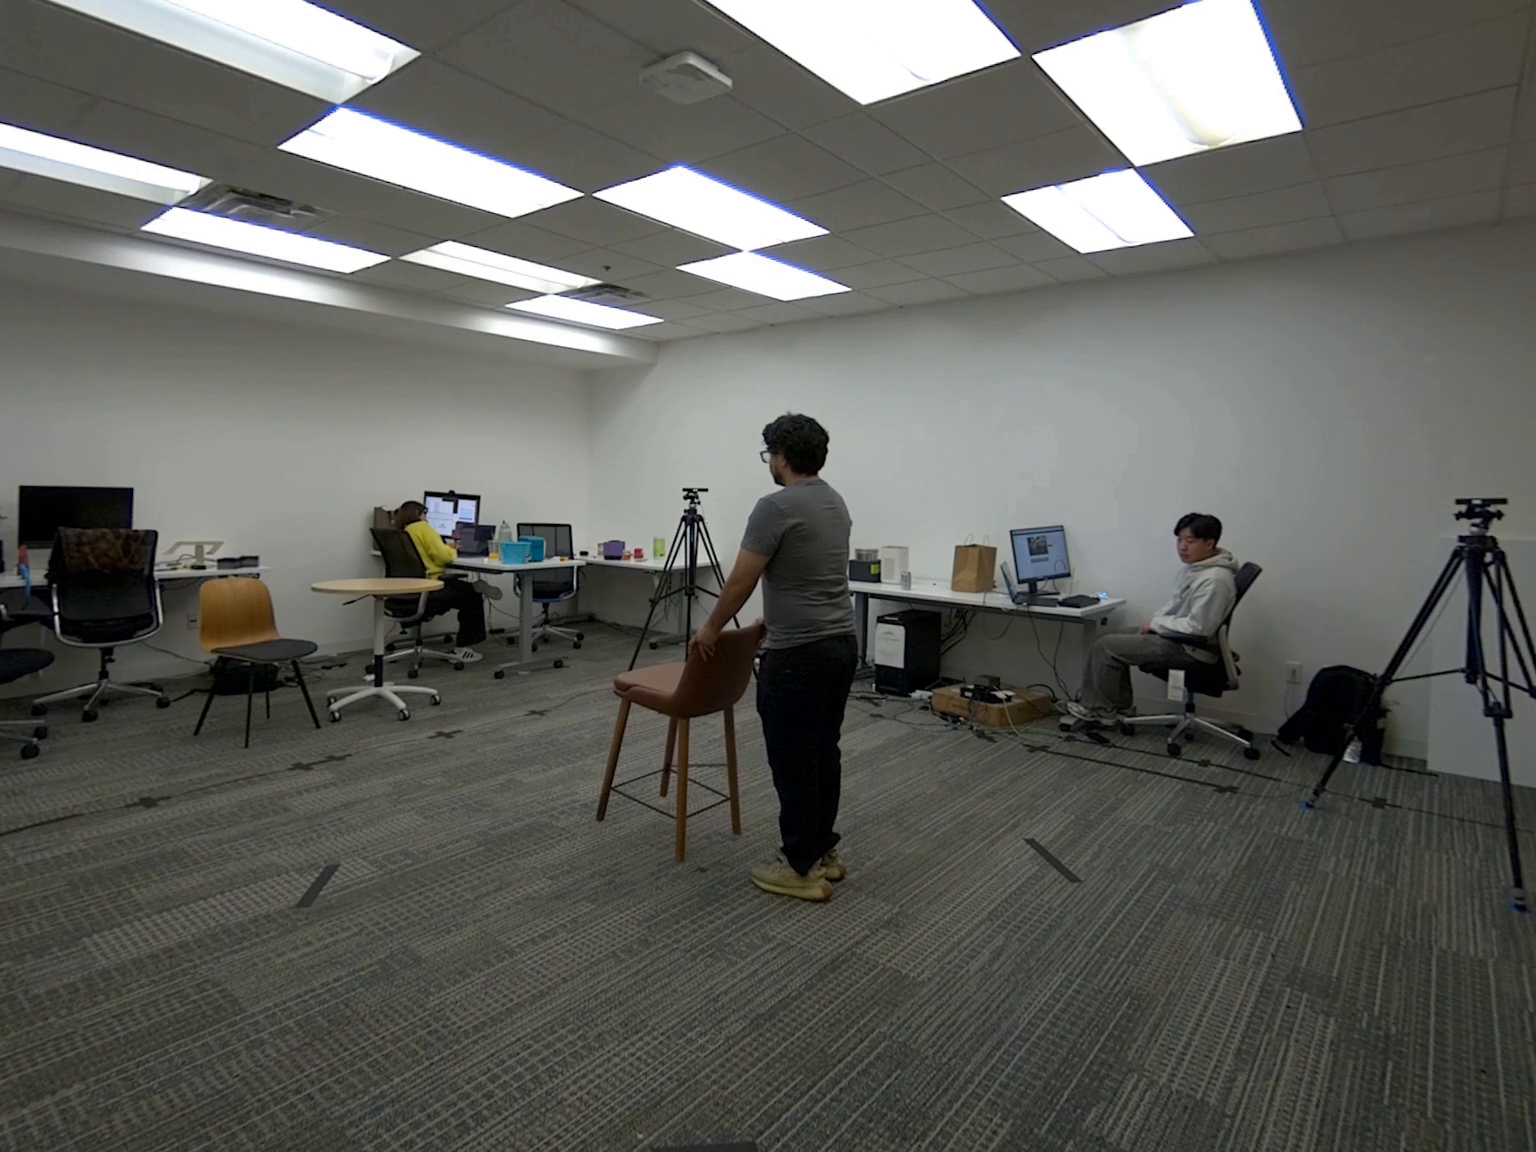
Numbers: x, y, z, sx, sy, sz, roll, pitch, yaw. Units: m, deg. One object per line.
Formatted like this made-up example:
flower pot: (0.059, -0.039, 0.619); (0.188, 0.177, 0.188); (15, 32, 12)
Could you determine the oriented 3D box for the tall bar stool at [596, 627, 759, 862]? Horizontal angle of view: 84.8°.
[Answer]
tall bar stool: (-0.356, 0.584, 3.398); (0.485, 0.884, 0.443); (13, 9, 37)
